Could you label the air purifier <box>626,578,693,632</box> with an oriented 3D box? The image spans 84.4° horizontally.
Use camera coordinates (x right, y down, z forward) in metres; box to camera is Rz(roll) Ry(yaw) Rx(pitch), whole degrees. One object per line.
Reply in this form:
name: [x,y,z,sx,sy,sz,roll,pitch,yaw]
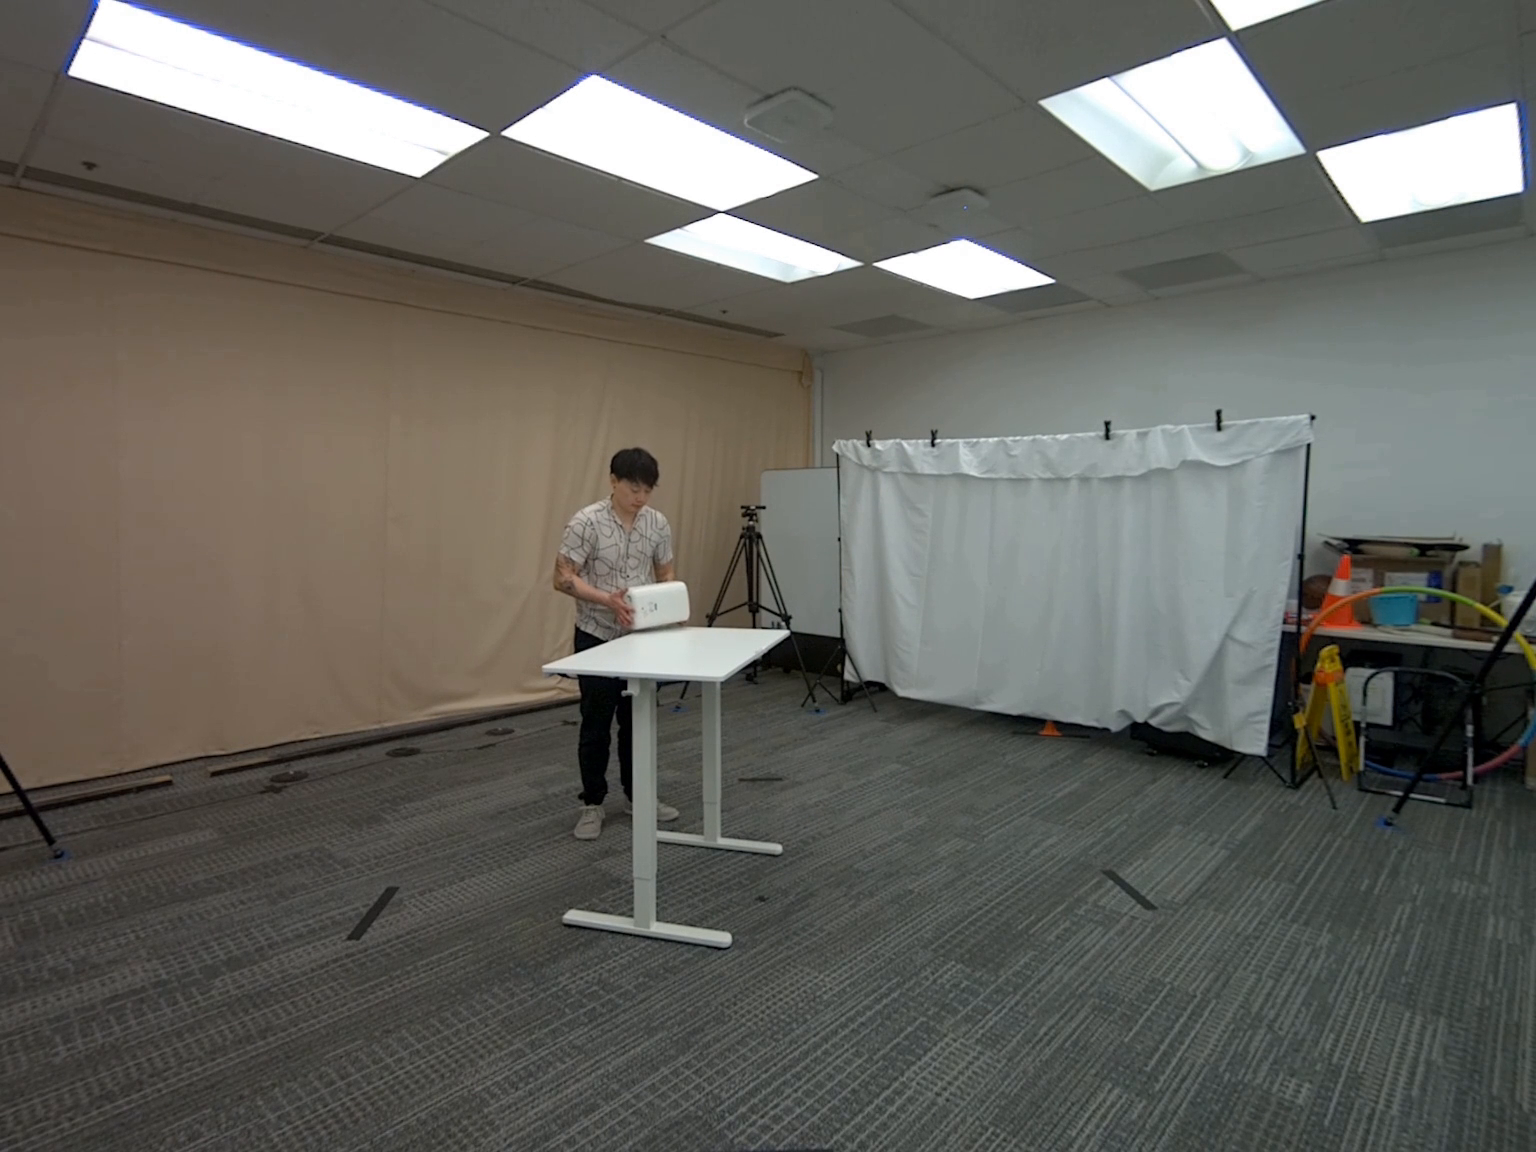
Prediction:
air purifier: [-0.477,0.116,3.483,0.177,0.171,0.258,-5,5,44]
